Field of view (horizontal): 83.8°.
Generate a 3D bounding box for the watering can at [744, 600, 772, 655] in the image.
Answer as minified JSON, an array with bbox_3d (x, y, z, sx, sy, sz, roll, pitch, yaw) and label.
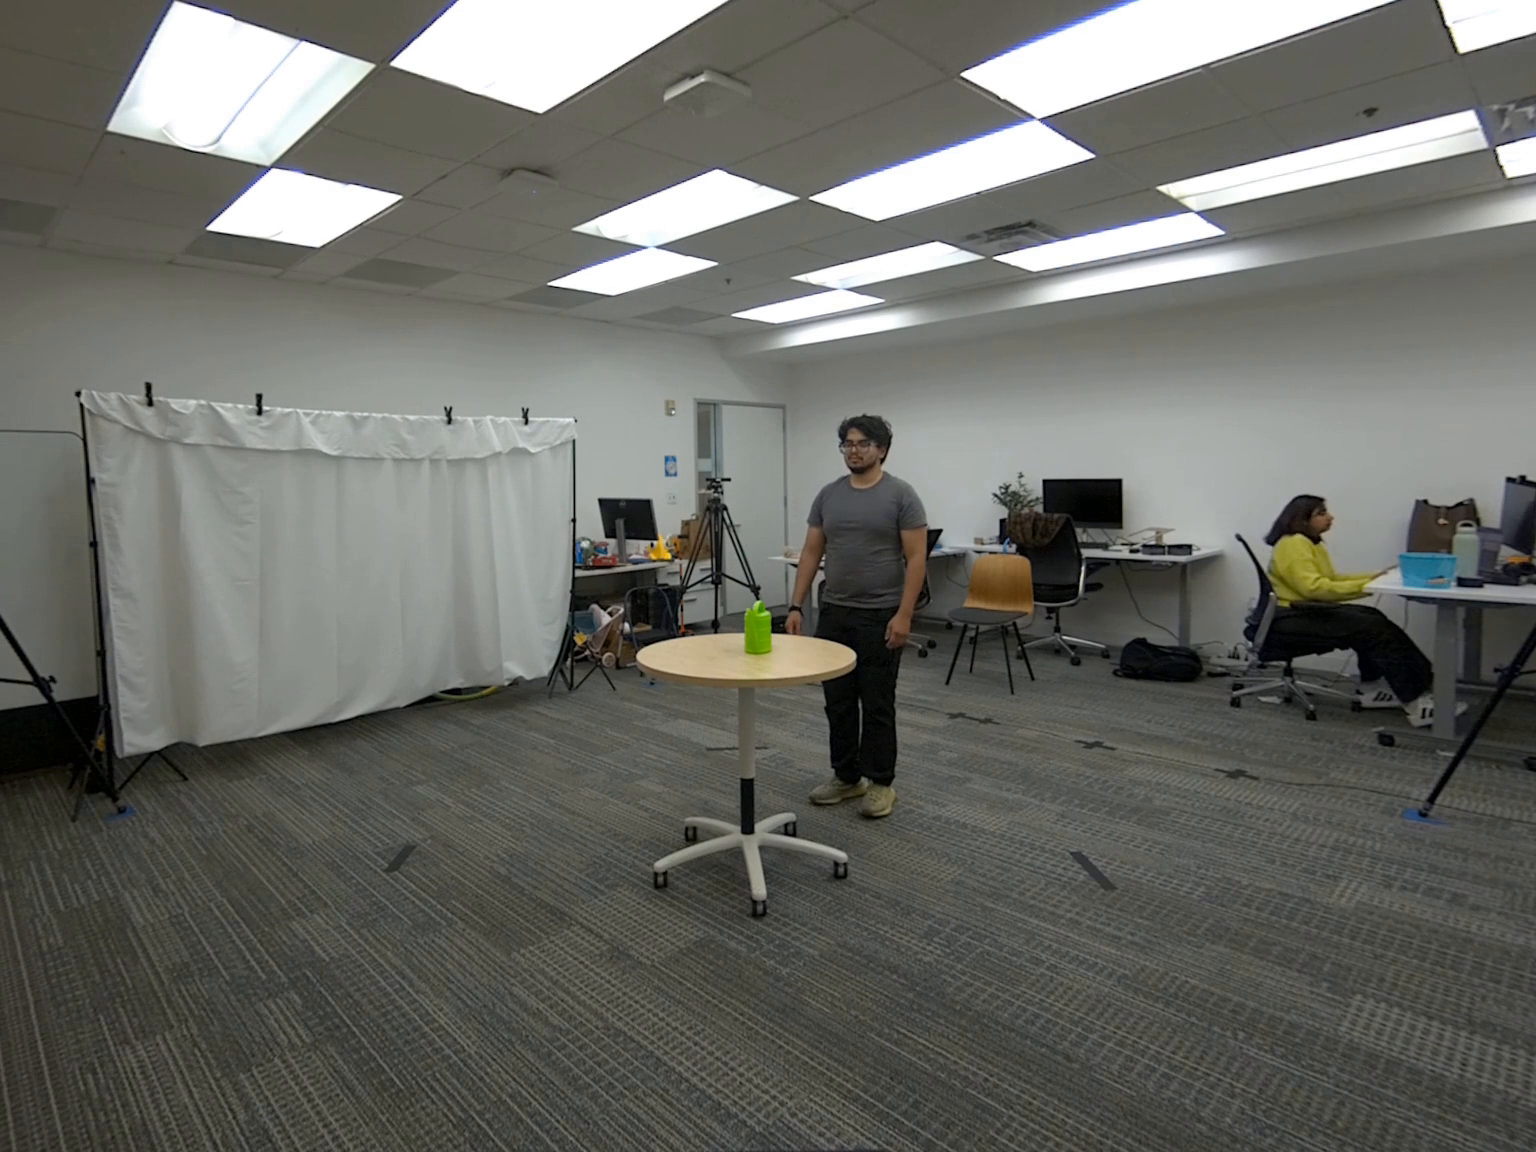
[{"bbox_3d":[-0.046,0.186,2.990,0.100,0.176,0.273,1,4,20],"label":"watering can"}]
